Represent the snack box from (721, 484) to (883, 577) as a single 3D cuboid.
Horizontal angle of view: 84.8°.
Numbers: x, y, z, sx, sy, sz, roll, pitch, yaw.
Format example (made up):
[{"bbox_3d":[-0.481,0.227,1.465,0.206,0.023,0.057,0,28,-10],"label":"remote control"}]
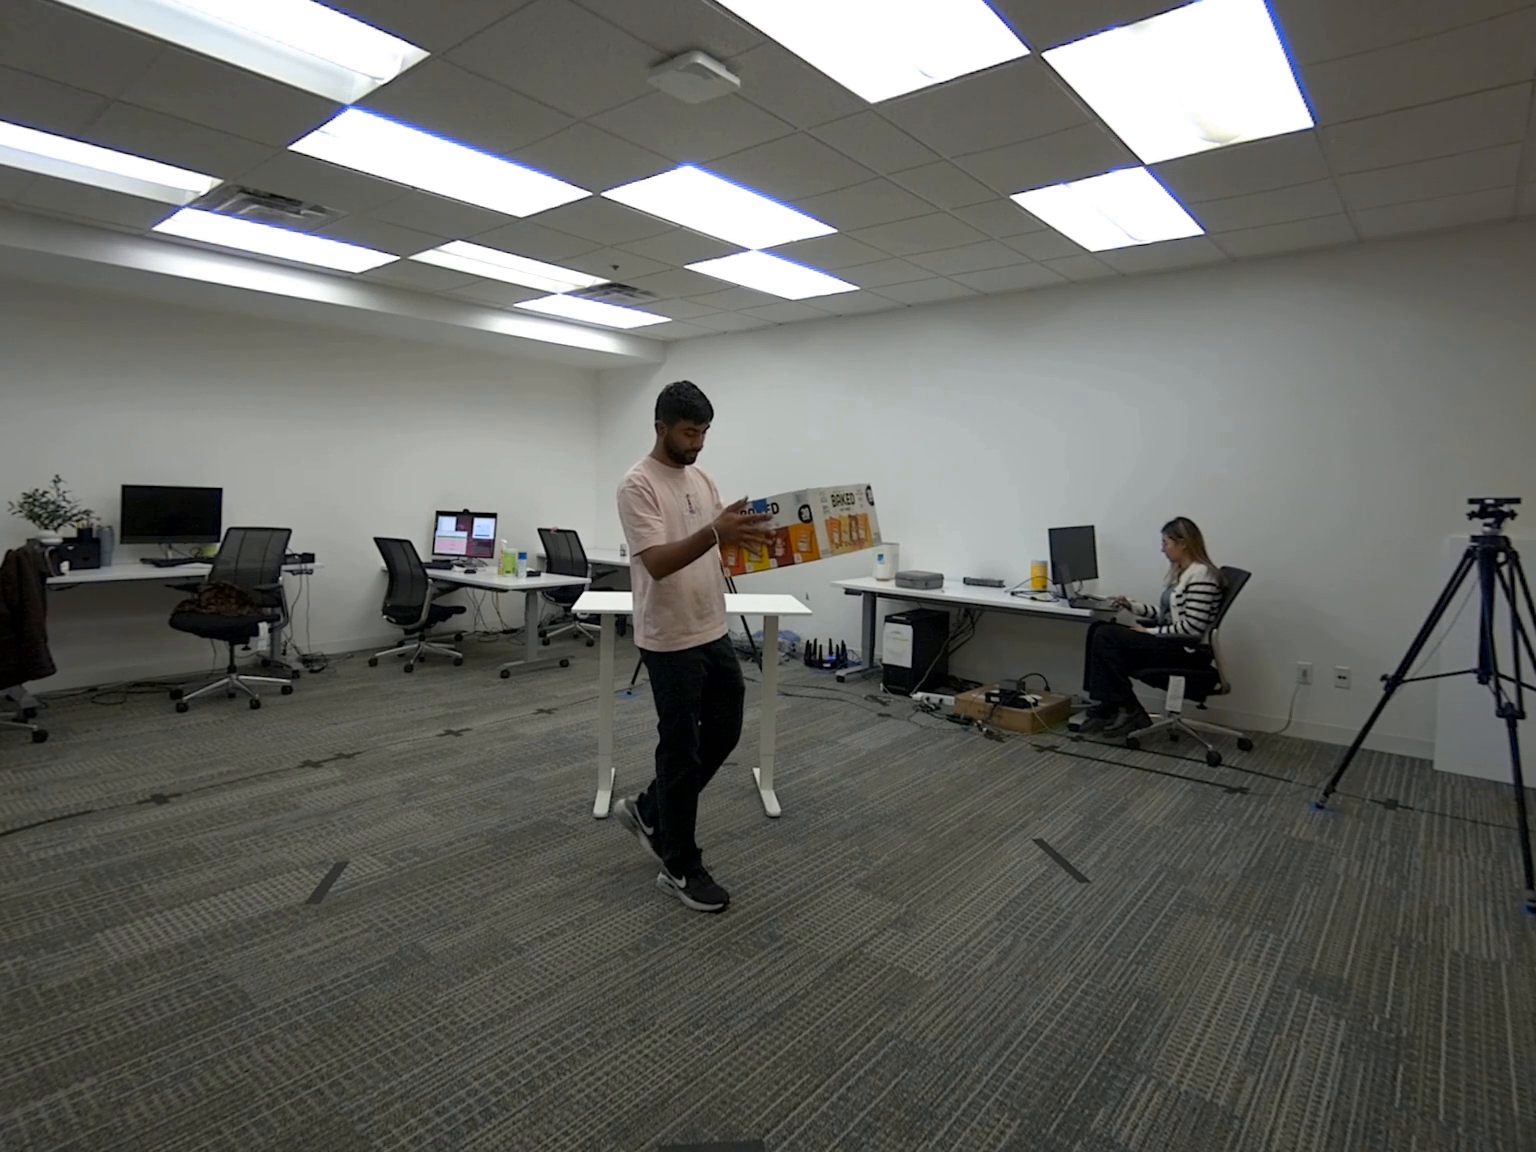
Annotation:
[{"bbox_3d":[0.083,-0.142,2.602,0.348,0.206,0.395,-10,1,34],"label":"snack box"}]
